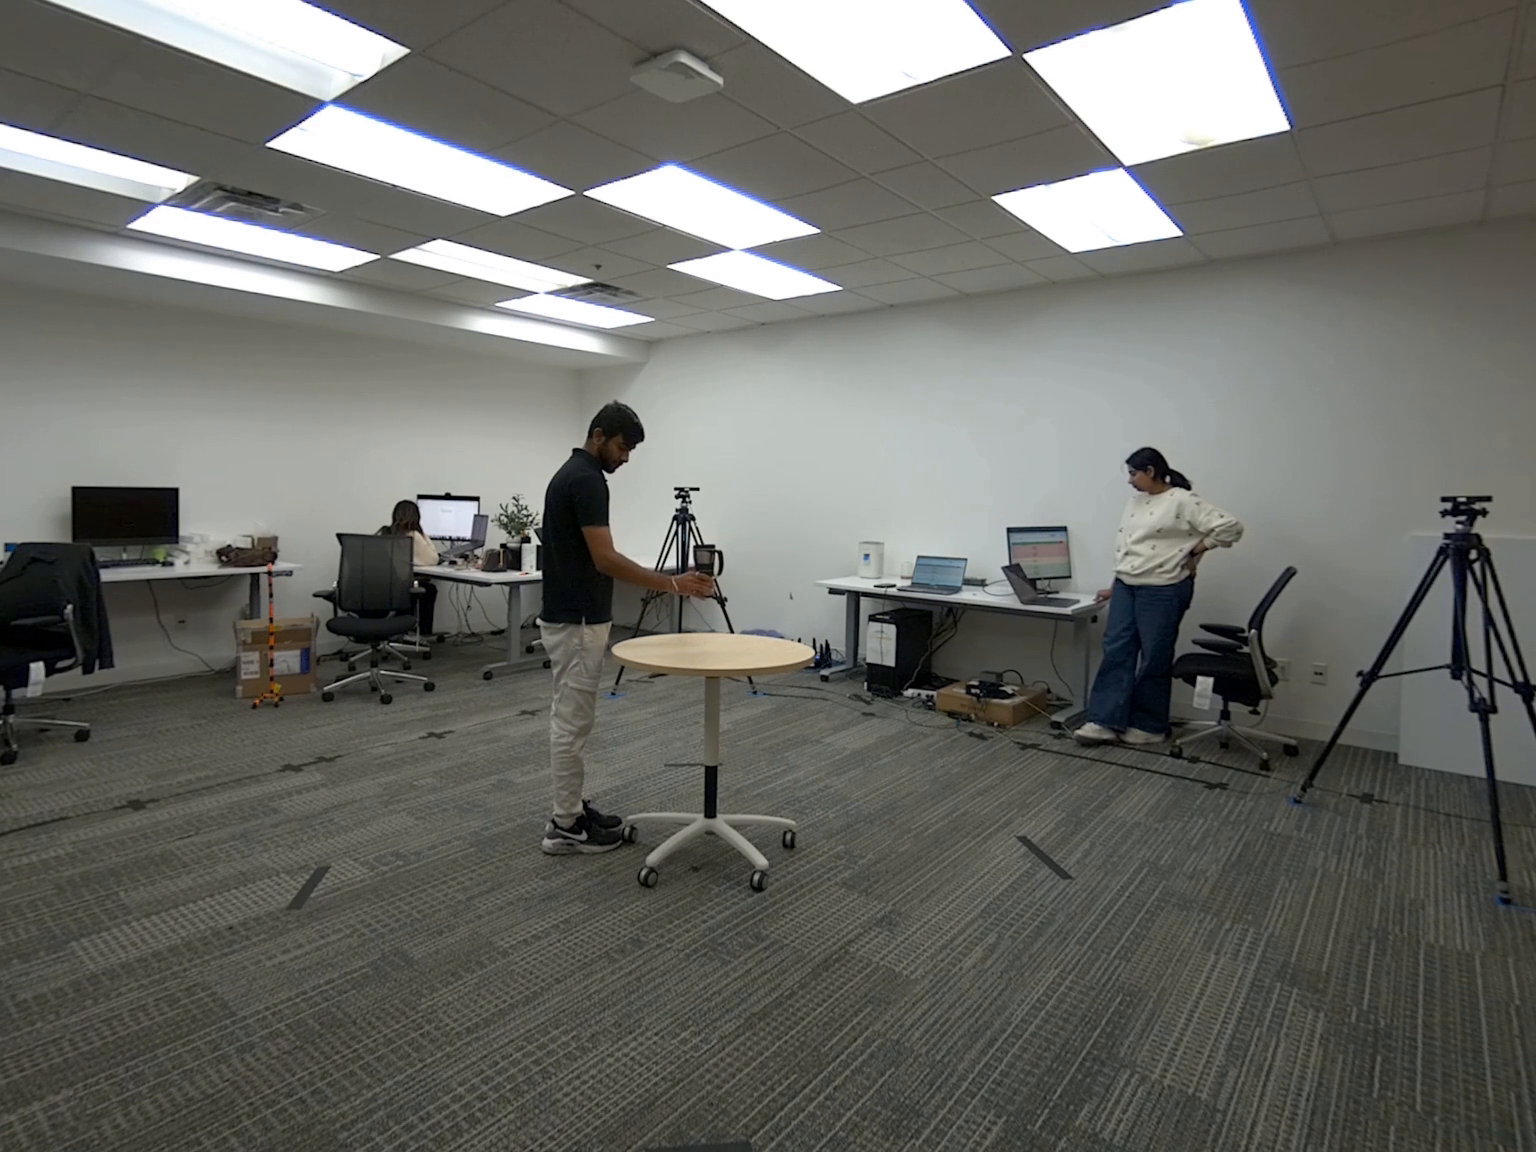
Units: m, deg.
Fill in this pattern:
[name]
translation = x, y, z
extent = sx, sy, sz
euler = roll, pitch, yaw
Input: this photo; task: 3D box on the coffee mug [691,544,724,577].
[coffee mug]
translation = -0.247, -0.020, 3.208
extent = 0.086, 0.203, 0.125
euler = 0, 1, -23
